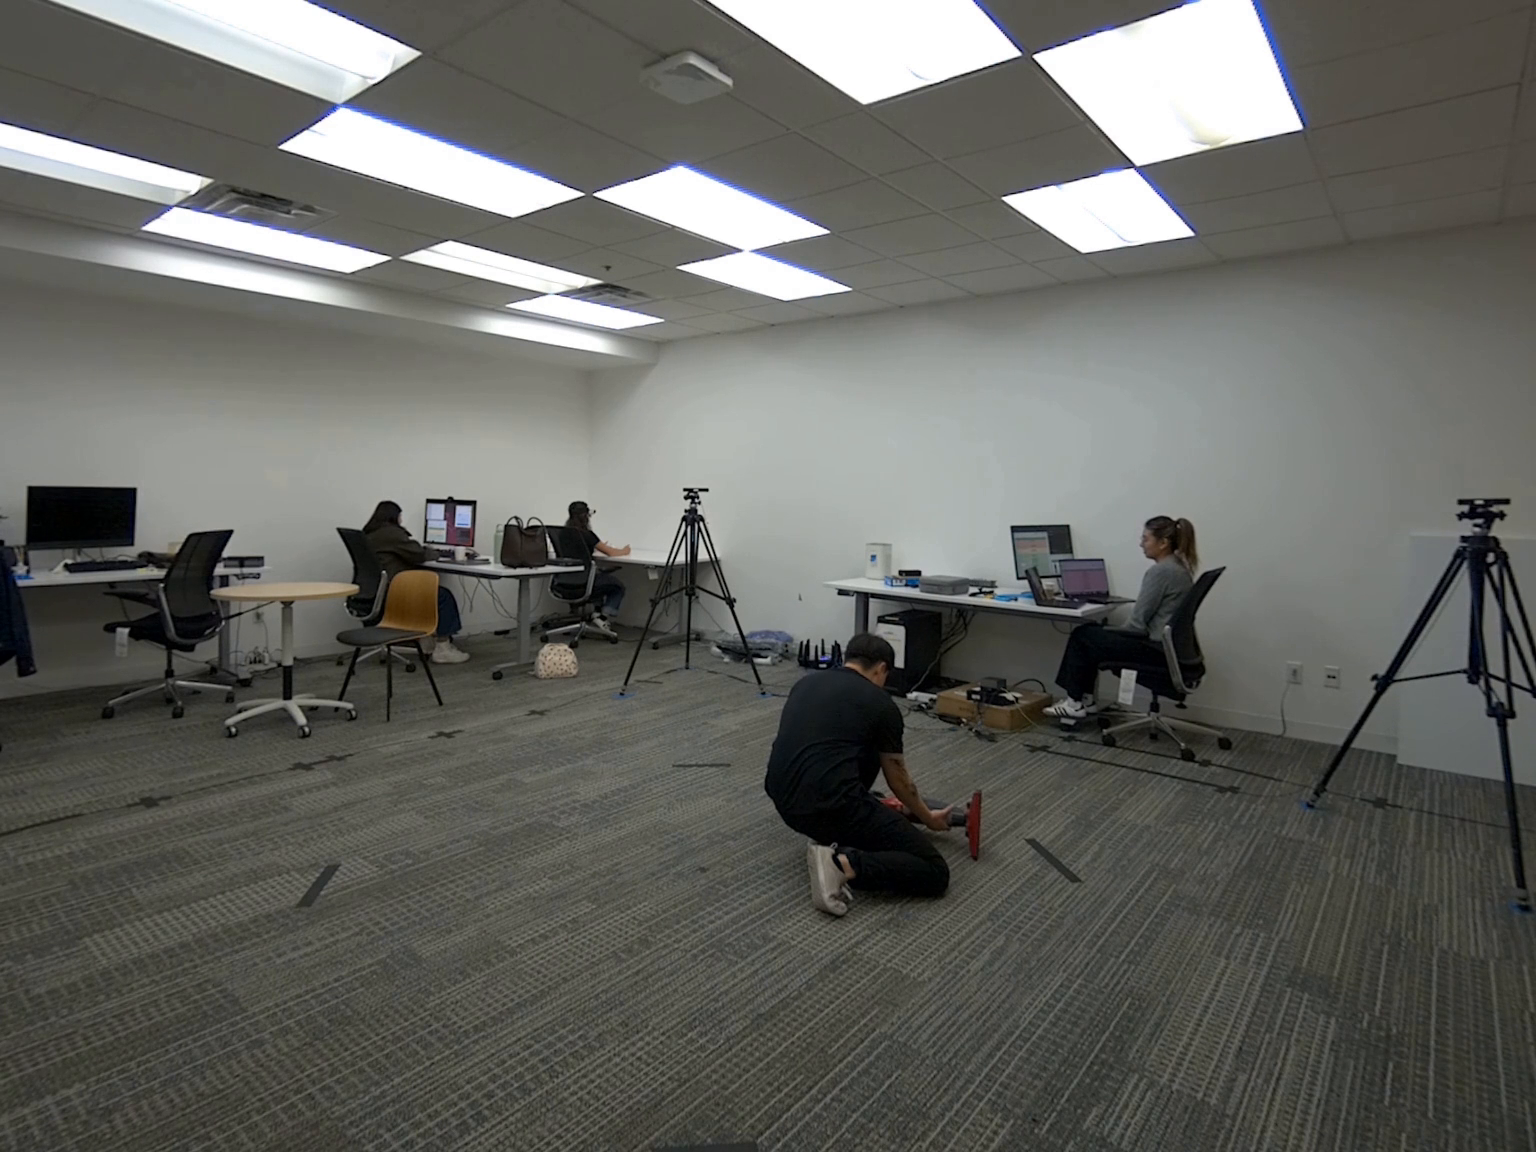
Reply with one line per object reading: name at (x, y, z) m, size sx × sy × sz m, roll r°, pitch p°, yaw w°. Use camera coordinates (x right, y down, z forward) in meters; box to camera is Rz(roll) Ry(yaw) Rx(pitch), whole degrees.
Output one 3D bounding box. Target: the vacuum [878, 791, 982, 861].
vacuum at (0.402, 0.953, 3.649) m, size 1.082 × 0.254 × 0.138 m, roll 0°, pitch -12°, yaw 43°
